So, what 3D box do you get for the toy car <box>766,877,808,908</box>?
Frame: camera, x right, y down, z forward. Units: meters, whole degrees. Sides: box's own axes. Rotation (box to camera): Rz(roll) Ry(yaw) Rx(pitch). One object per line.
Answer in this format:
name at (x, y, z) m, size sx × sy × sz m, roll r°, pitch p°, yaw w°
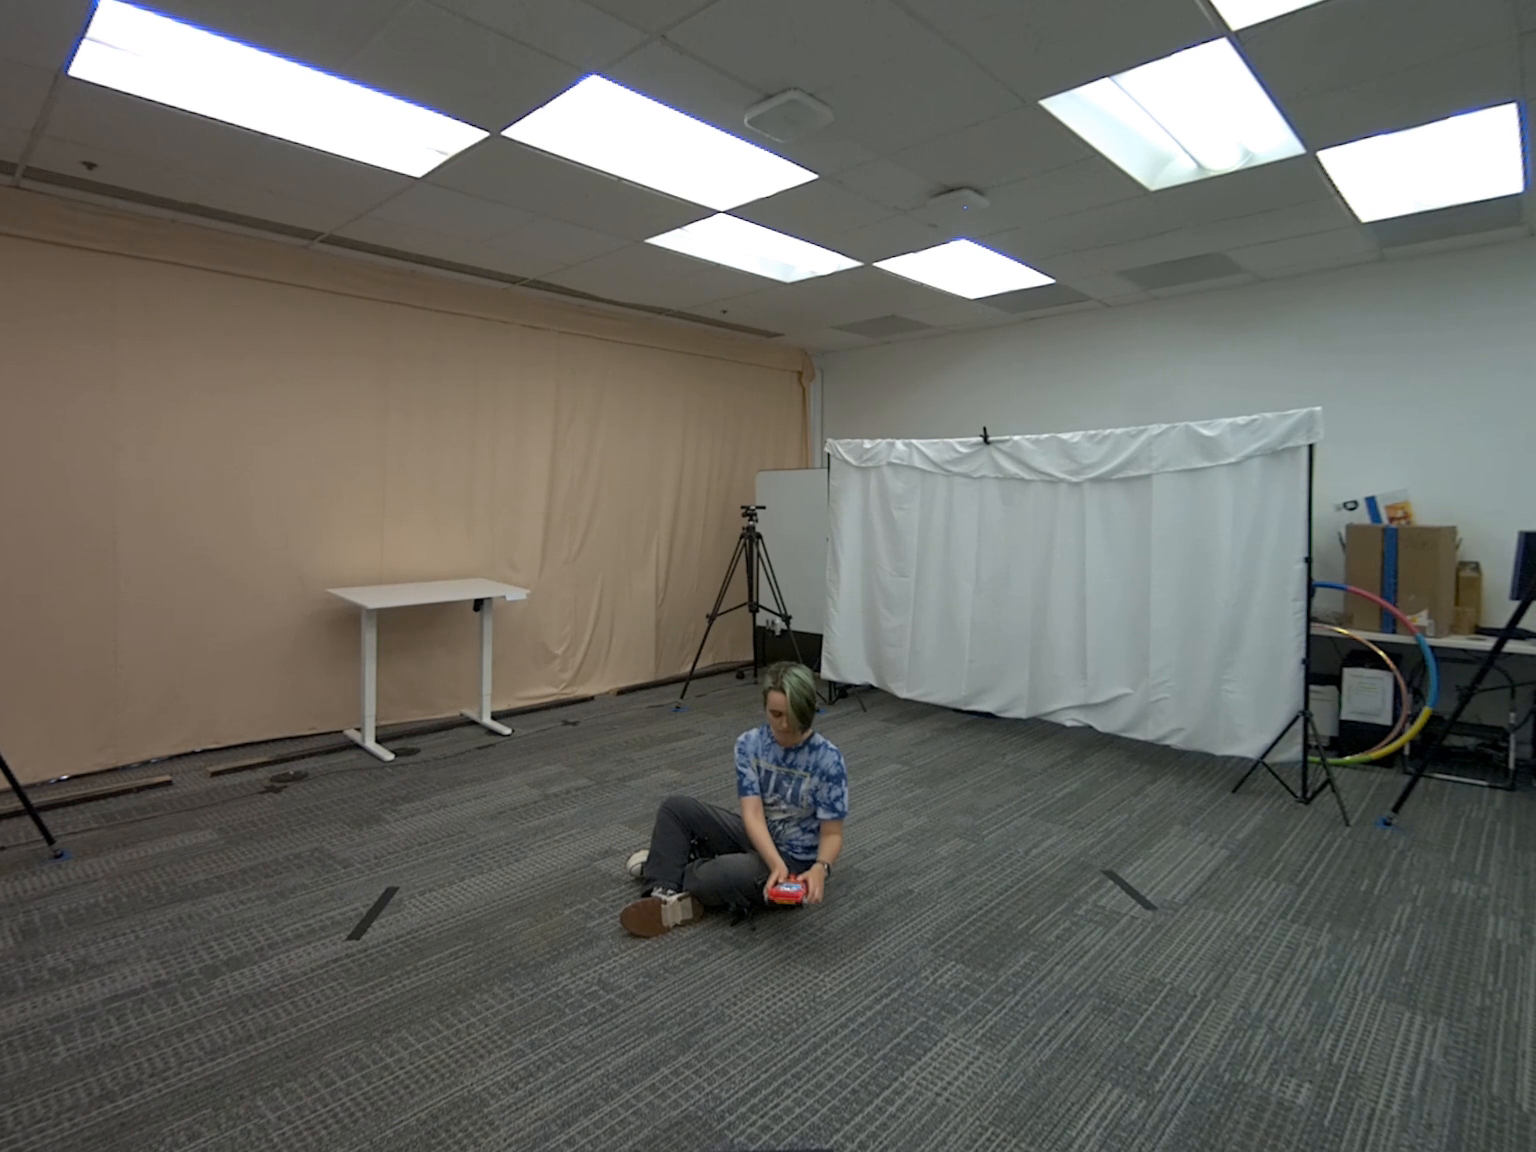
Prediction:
toy car at (0.072, 0.984, 2.637) m, size 0.132 × 0.083 × 0.250 m, roll -3°, pitch -4°, yaw 11°
